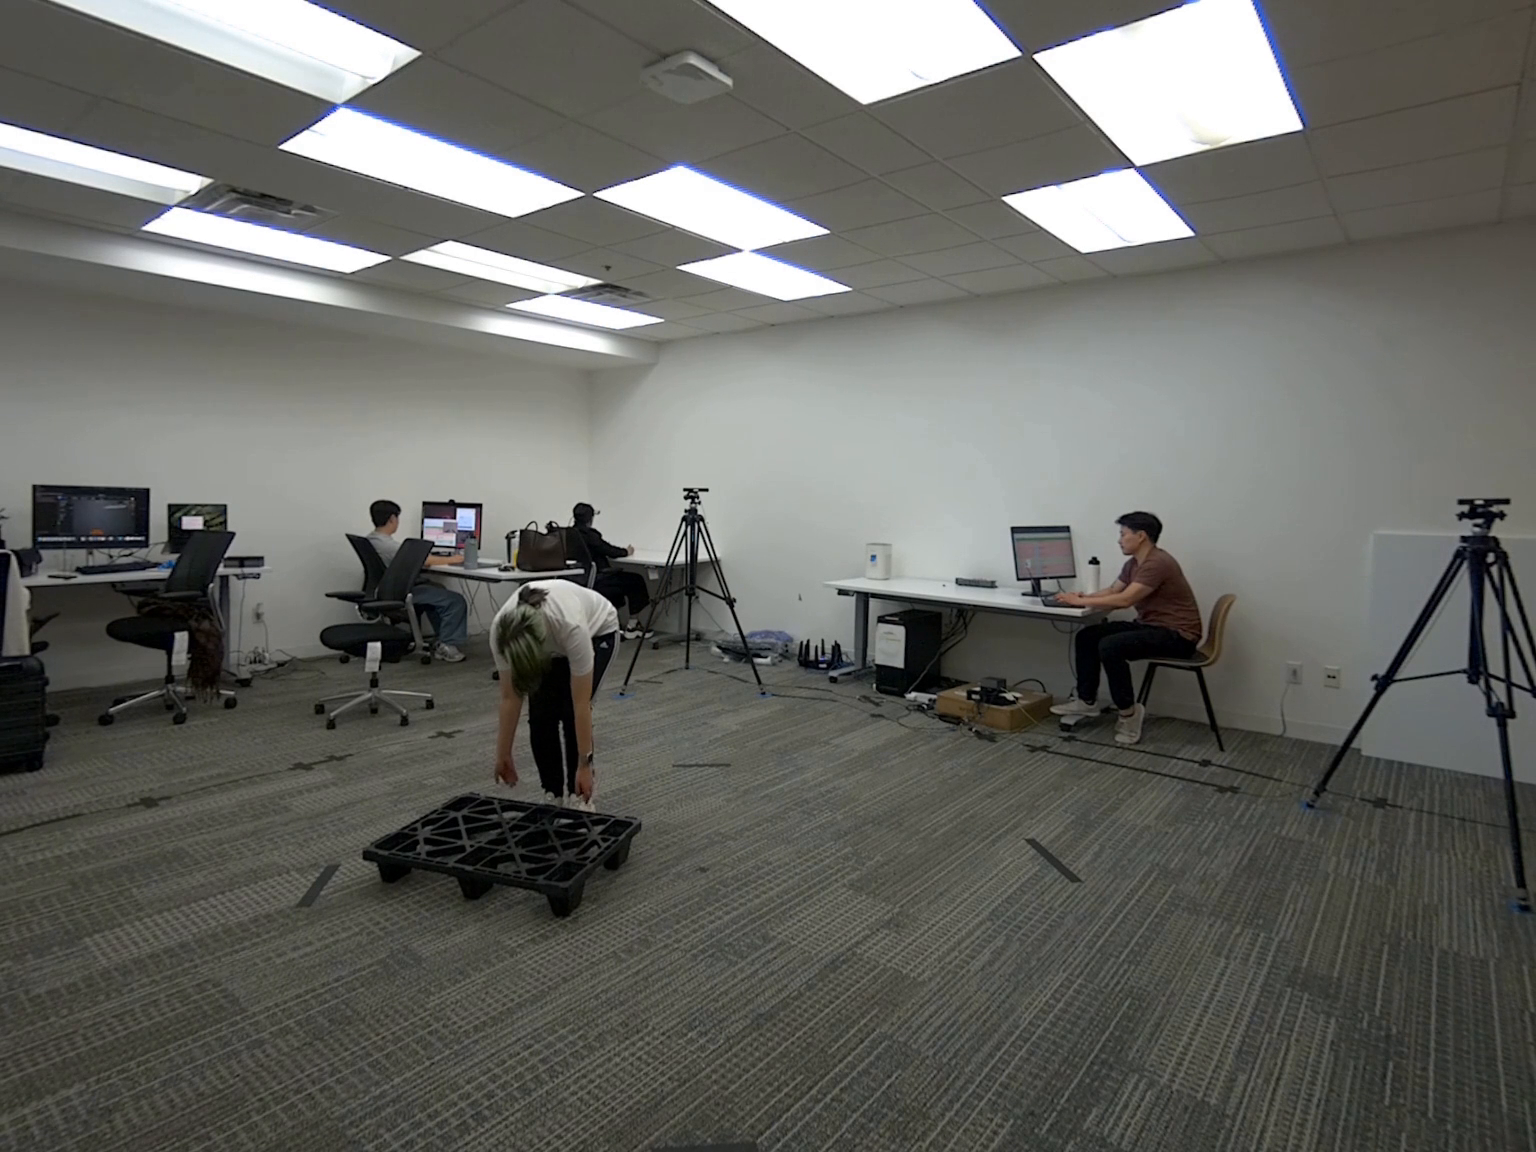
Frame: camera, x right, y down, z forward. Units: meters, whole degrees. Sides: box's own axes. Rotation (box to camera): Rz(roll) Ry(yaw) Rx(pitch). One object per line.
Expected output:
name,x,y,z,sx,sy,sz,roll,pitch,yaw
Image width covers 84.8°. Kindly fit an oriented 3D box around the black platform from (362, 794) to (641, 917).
black platform,-0.946,0.990,3.072,0.821,0.142,0.596,3,7,17
